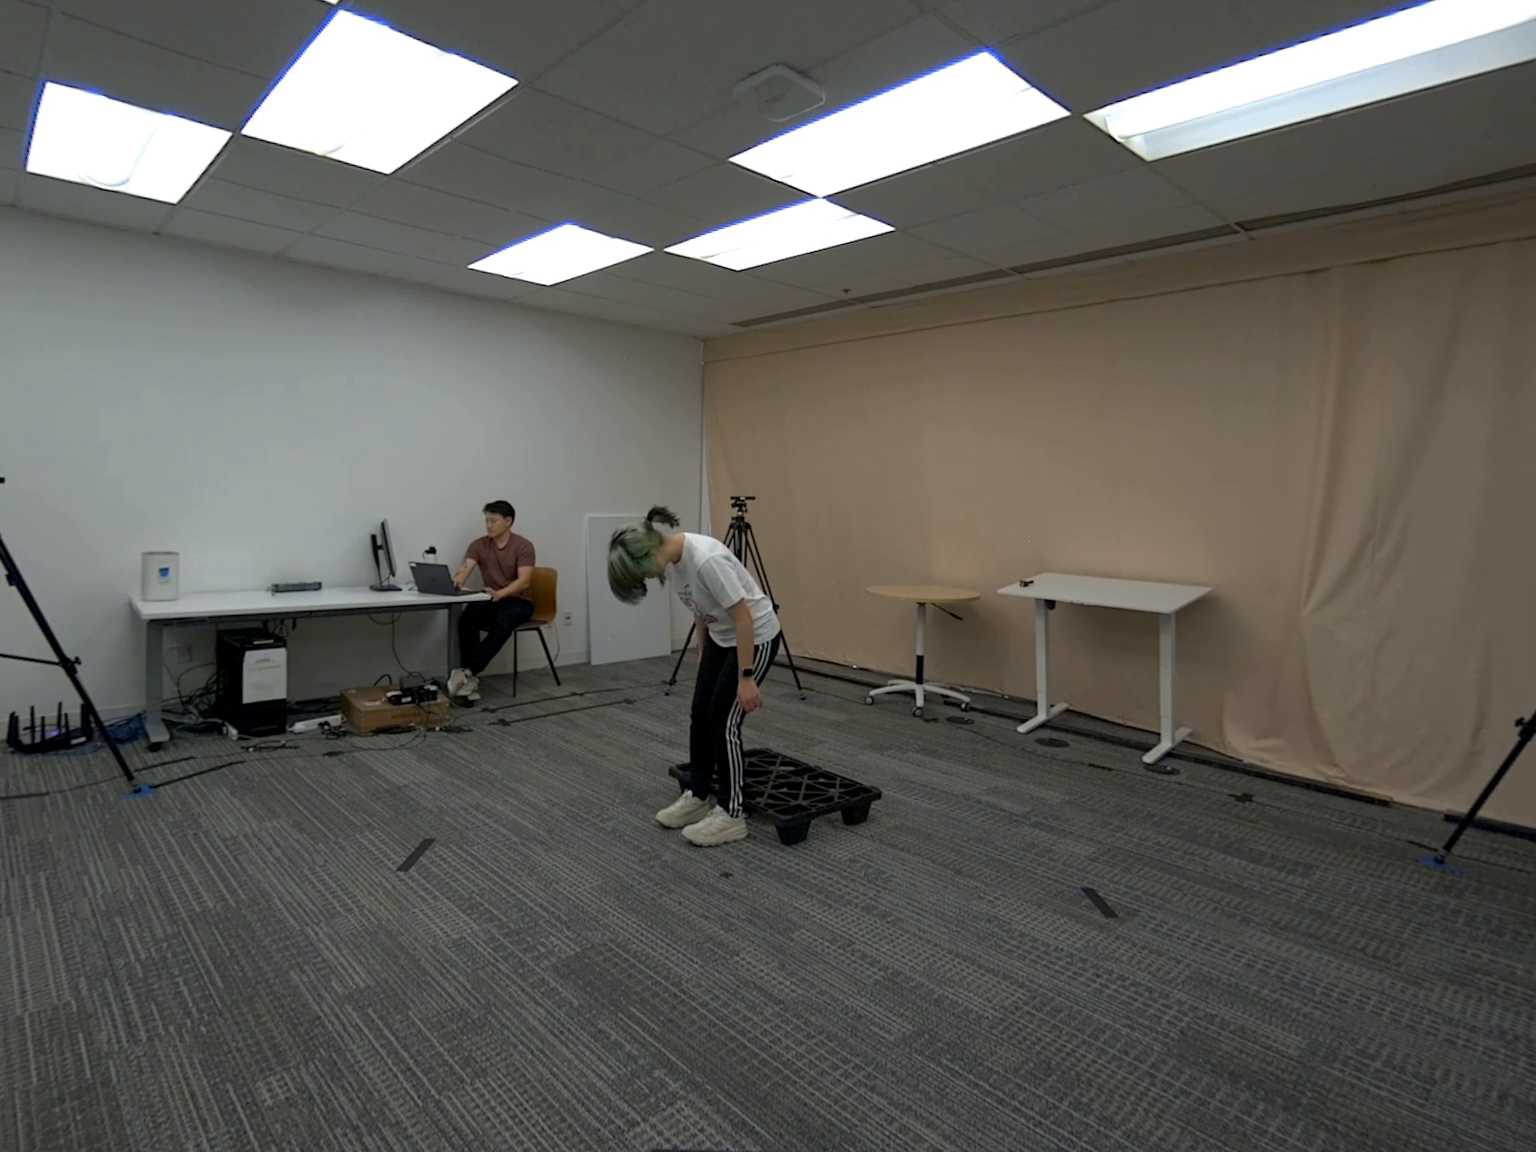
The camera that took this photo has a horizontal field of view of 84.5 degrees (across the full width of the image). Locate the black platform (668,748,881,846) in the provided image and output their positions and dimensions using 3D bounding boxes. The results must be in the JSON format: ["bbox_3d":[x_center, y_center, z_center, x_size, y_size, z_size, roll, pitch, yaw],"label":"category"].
[{"bbox_3d":[0.006,0.981,3.801,0.591,0.143,0.826,-3,7,-40],"label":"black platform"}]
